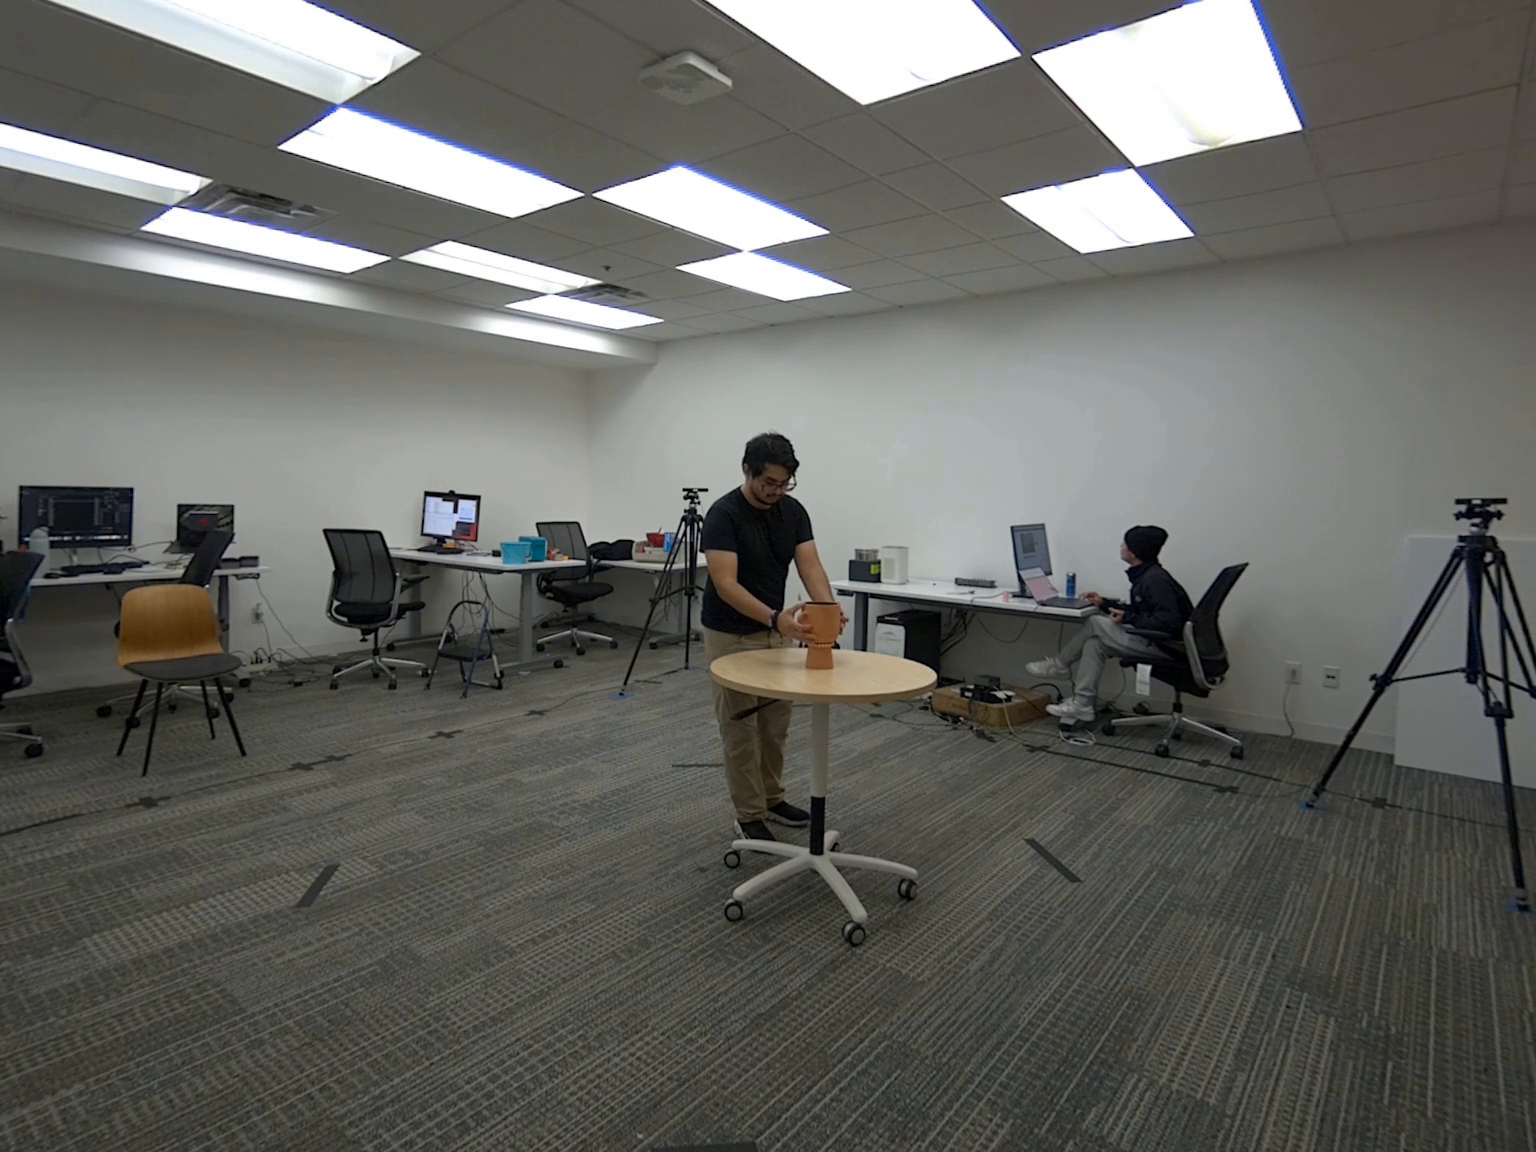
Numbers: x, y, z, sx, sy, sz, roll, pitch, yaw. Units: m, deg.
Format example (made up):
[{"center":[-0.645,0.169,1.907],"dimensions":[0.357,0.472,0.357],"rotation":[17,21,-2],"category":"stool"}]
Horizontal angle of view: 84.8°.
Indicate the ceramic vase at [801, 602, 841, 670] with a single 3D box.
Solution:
[{"center":[0.174,0.204,2.936],"dimensions":[0.159,0.219,0.134],"rotation":[0,3,3],"category":"ceramic vase"}]
